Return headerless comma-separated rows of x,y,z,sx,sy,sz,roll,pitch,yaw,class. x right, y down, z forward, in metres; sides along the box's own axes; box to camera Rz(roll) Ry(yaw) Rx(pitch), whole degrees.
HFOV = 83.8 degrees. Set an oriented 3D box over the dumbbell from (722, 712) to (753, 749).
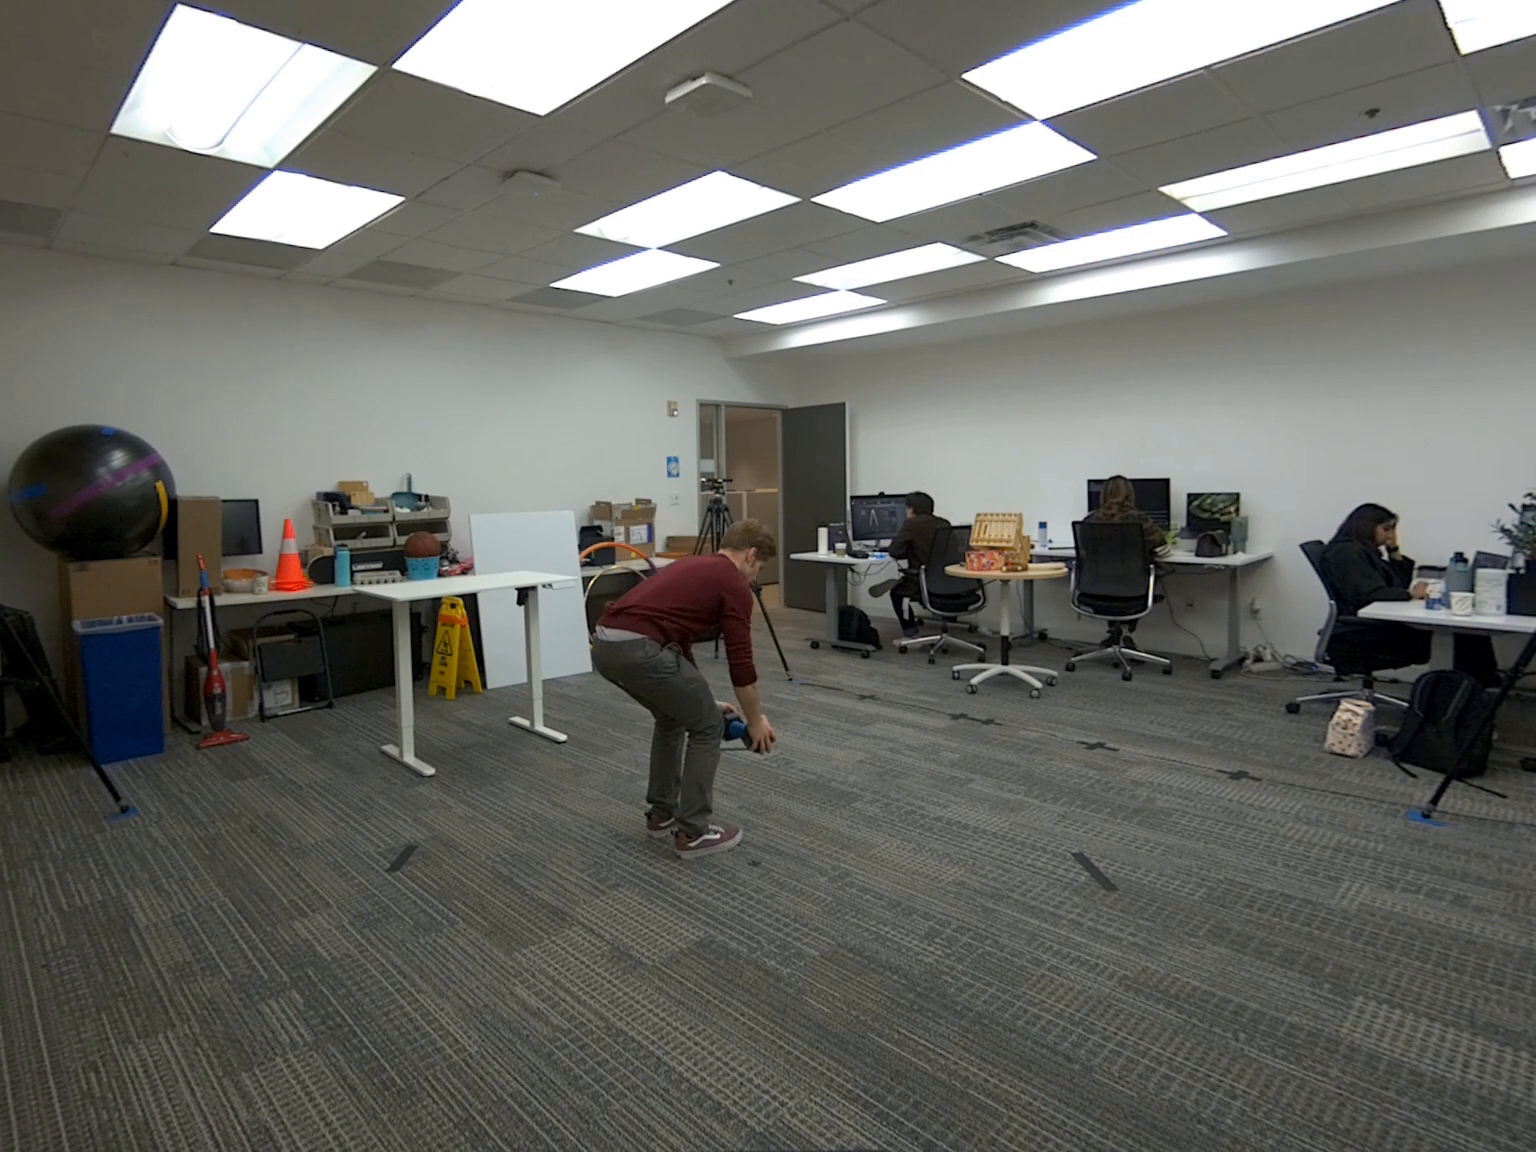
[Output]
-0.107,0.626,3.459,0.108,0.120,0.302,-40,26,-24,dumbbell
